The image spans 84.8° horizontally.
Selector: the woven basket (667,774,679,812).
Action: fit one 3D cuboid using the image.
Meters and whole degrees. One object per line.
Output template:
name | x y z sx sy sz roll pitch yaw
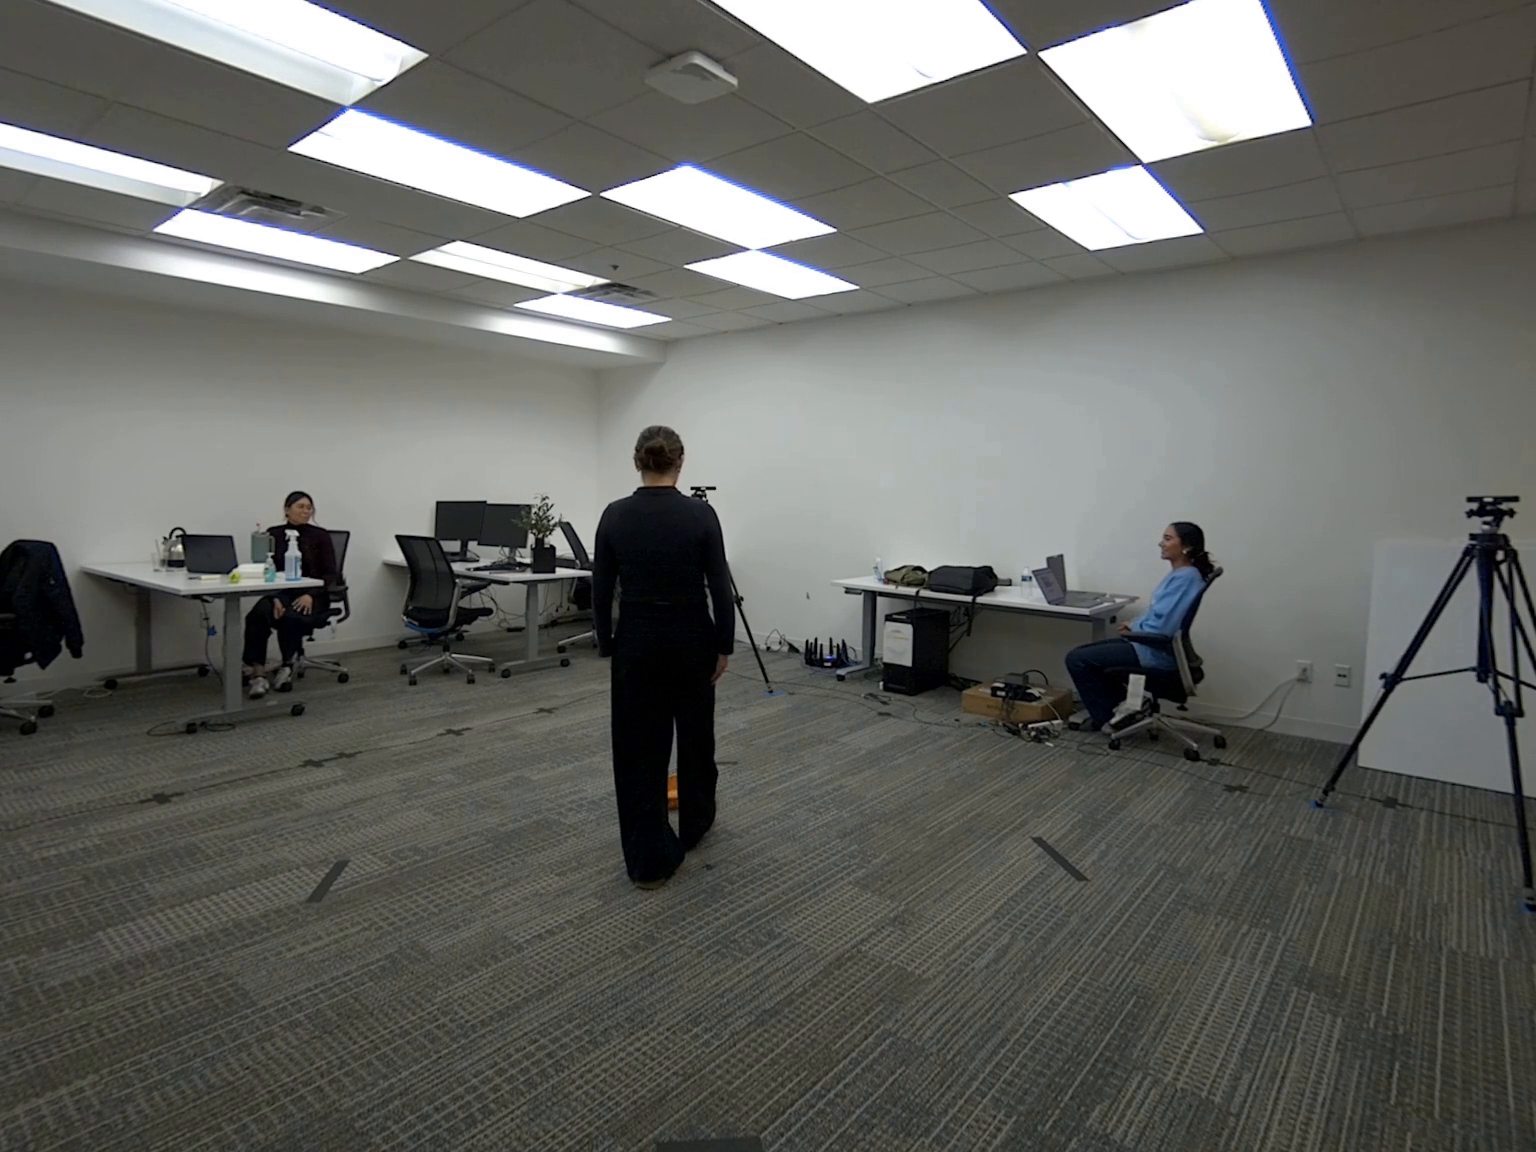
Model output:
woven basket | -0.404 0.952 3.773 0.341 0.073 0.260 -3 7 -30
